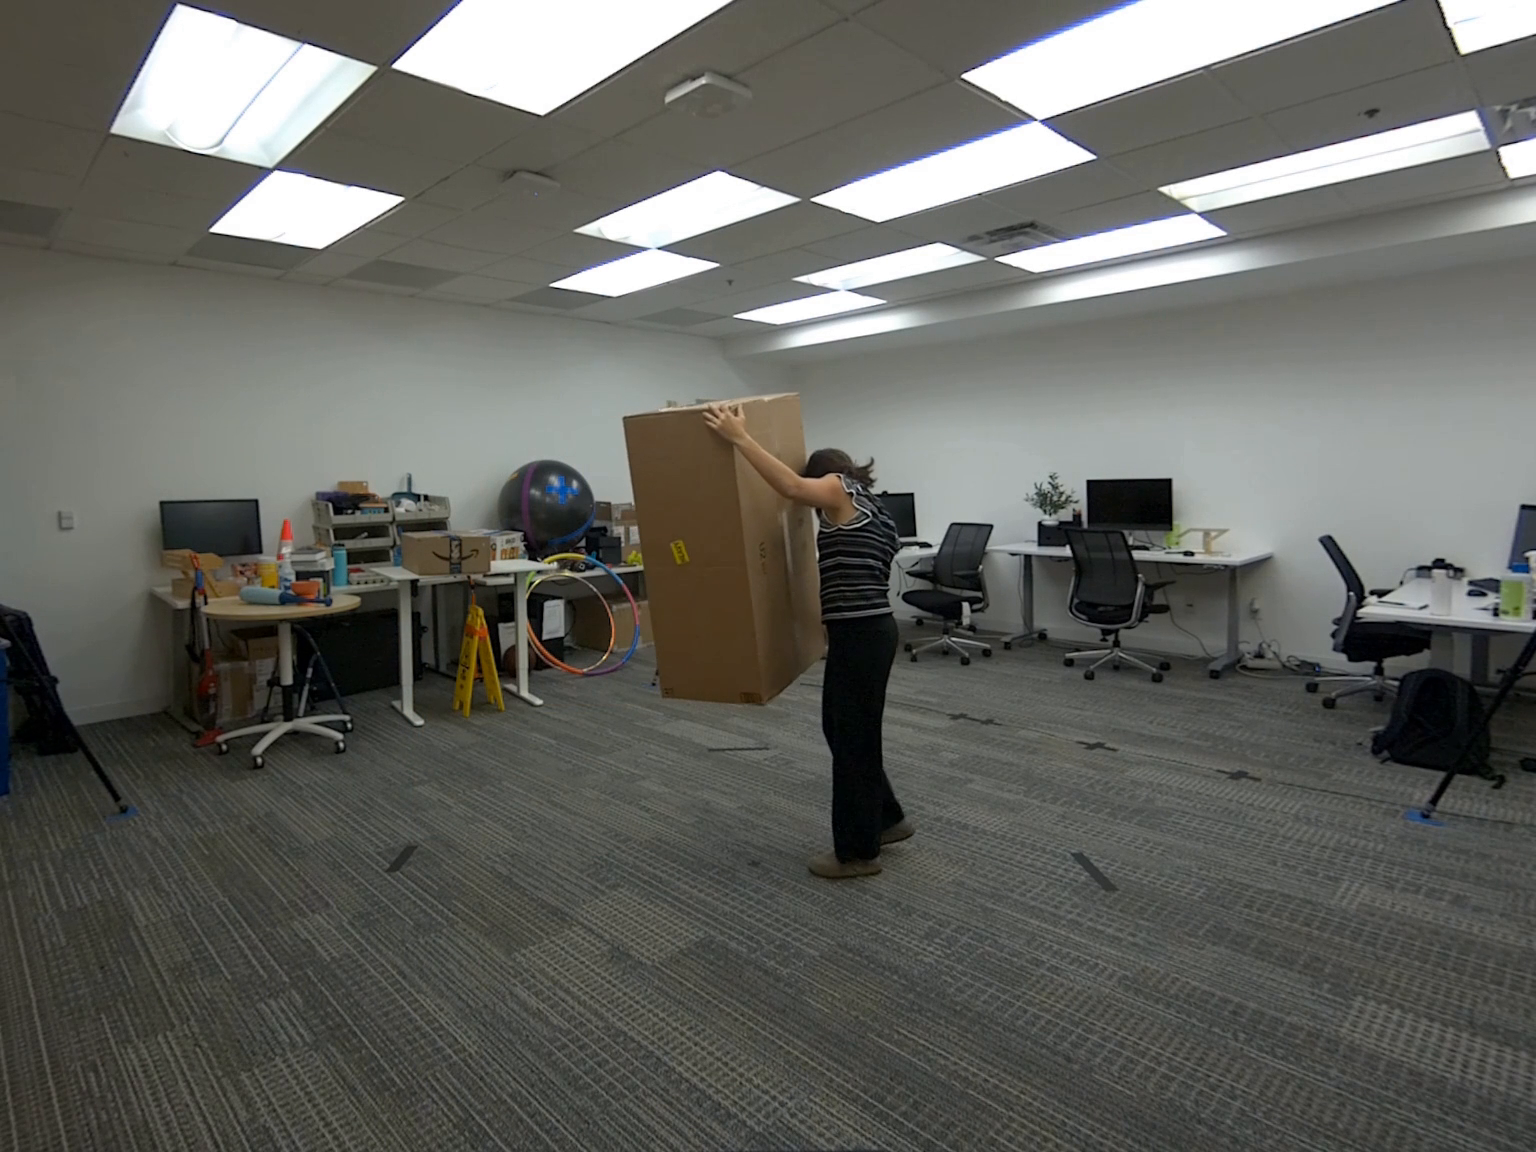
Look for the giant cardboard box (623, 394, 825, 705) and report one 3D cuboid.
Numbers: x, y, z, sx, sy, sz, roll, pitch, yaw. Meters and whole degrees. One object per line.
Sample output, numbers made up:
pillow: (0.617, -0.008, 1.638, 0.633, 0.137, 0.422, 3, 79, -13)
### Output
giant cardboard box: (-0.135, -0.119, 3.149, 0.436, 1.014, 0.570, -1, 13, 28)
